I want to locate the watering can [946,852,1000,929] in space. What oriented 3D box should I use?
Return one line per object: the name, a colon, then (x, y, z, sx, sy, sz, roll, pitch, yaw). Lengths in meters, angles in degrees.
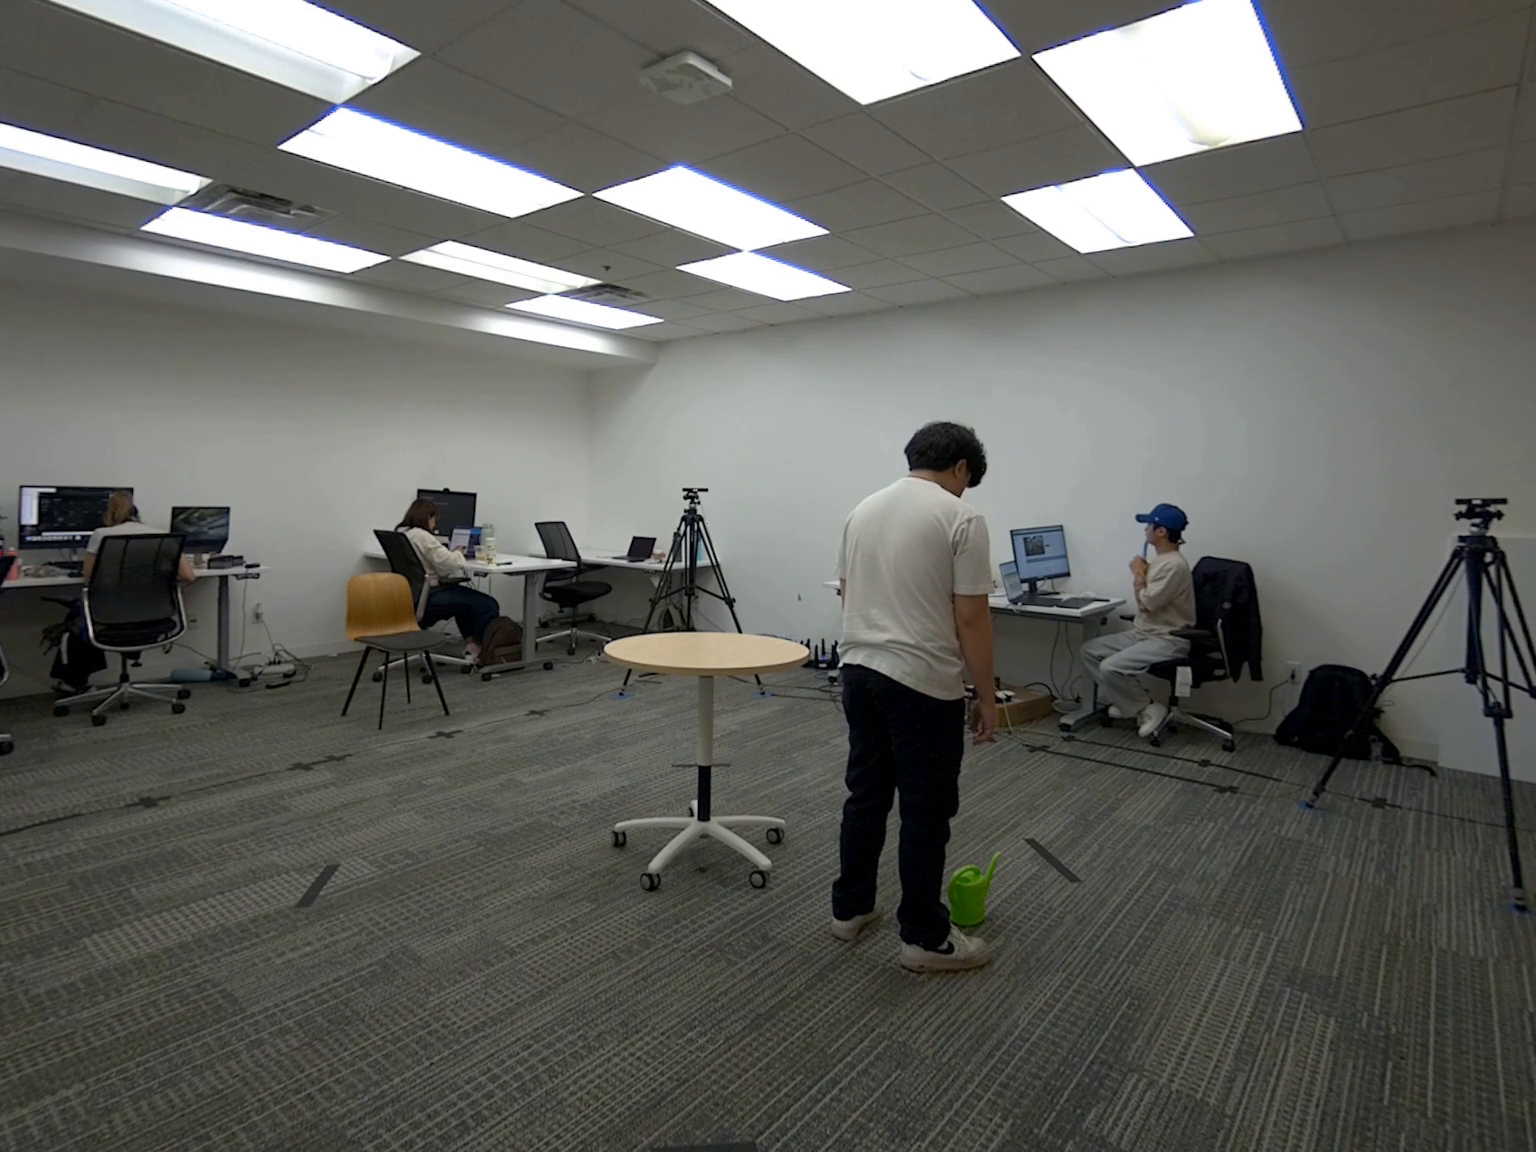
watering can: (0.692, 1.030, 2.808, 0.272, 0.176, 0.100, -2, 6, -23)
